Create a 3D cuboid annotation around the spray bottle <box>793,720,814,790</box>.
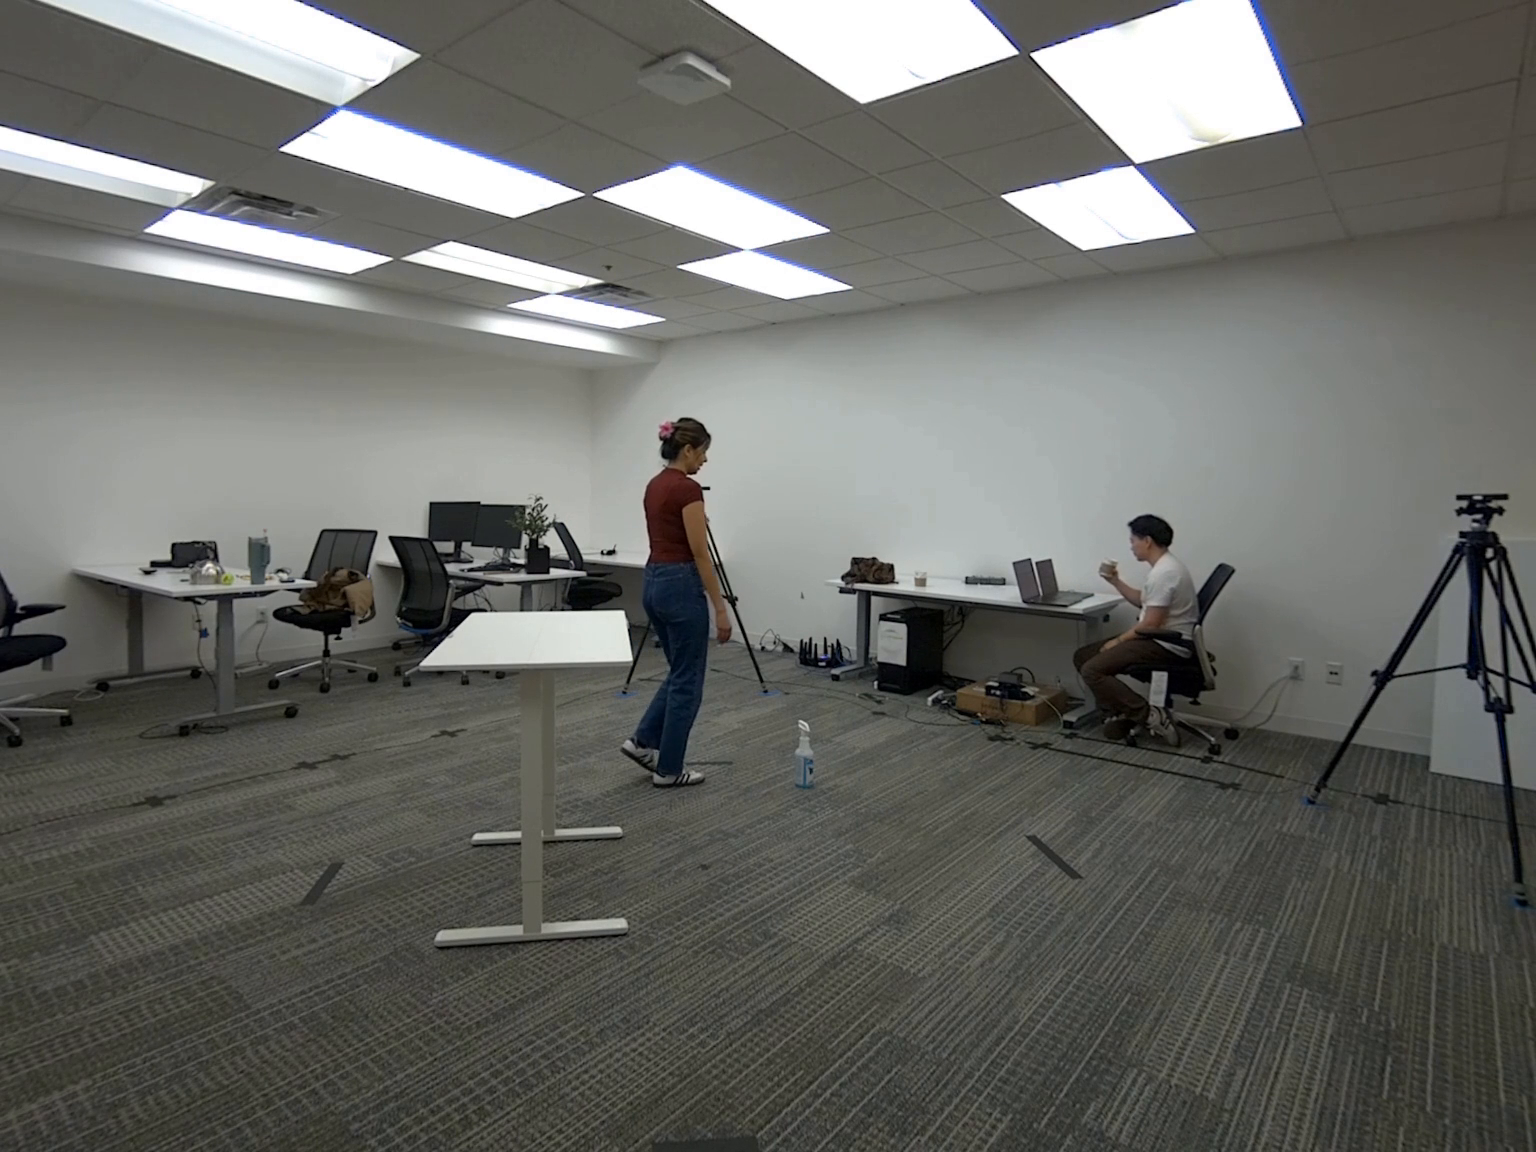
[{"bbox_3d":[0.160,0.842,4.006,0.087,0.296,0.090,1,4,-2],"label":"spray bottle"}]
